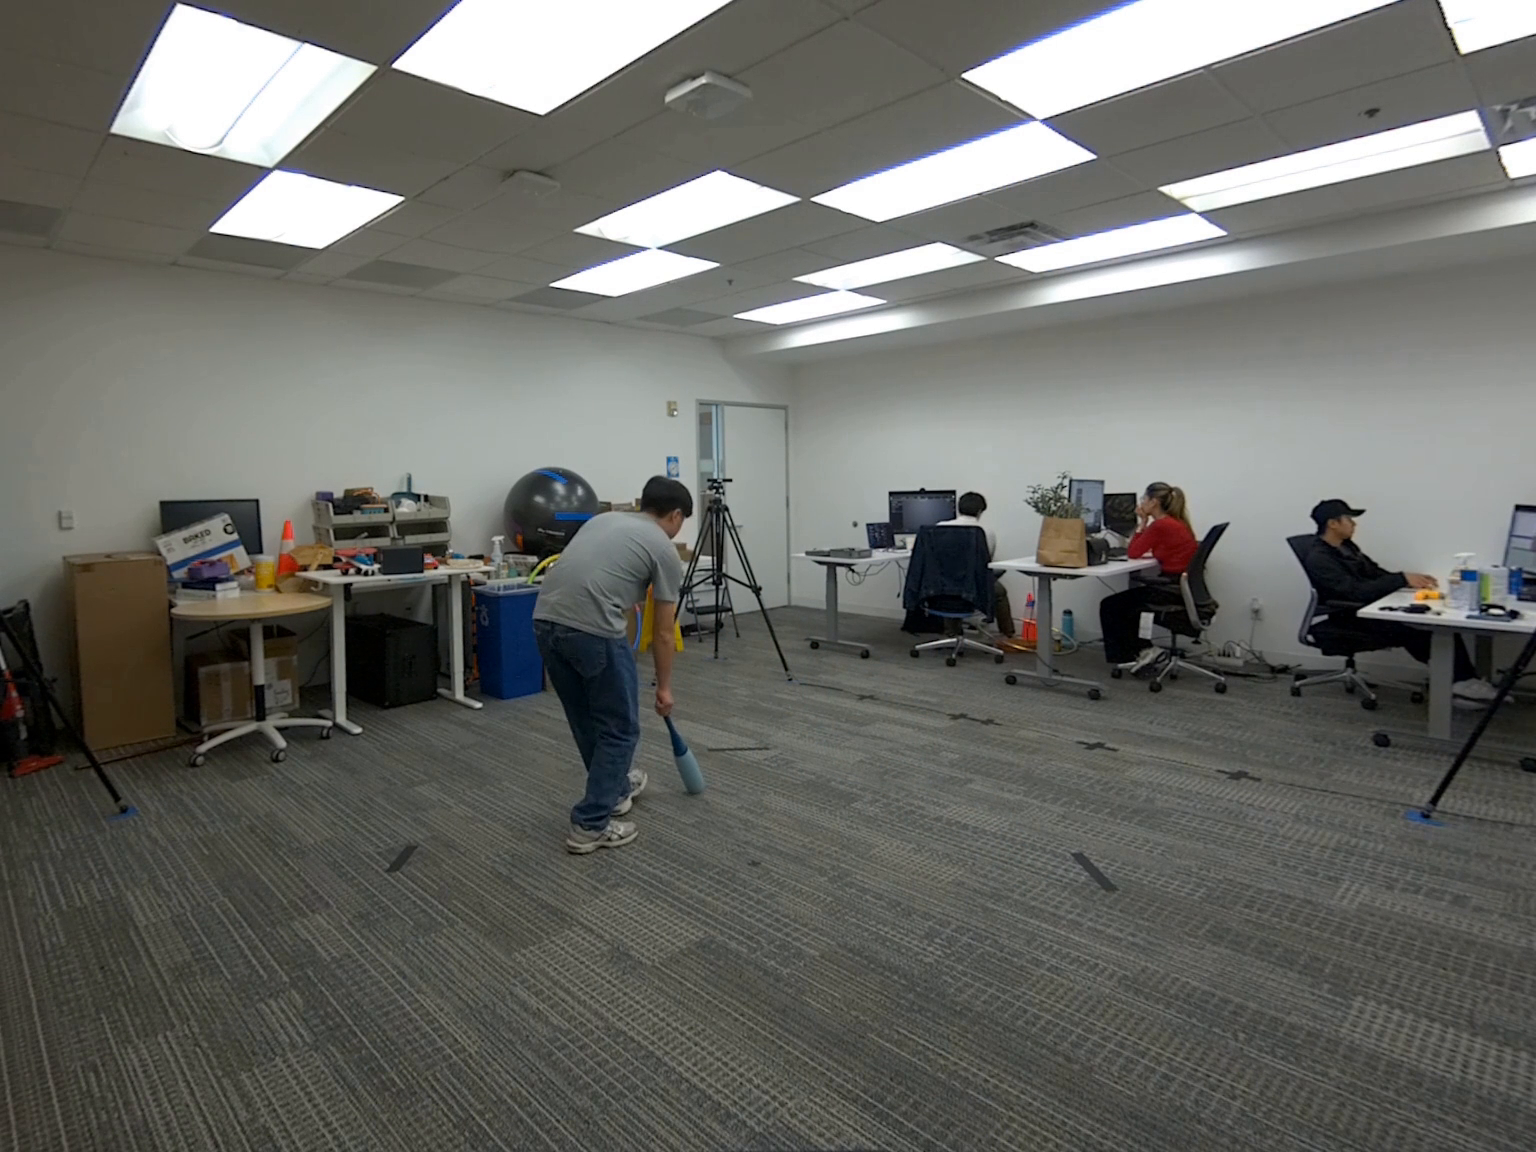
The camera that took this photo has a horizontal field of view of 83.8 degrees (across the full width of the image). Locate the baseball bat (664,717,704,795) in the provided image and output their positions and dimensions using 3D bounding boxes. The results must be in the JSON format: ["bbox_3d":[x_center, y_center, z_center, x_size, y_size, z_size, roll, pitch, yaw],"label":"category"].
[{"bbox_3d":[-0.386,0.747,3.698,0.089,0.526,0.091,-13,33,7],"label":"baseball bat"}]
